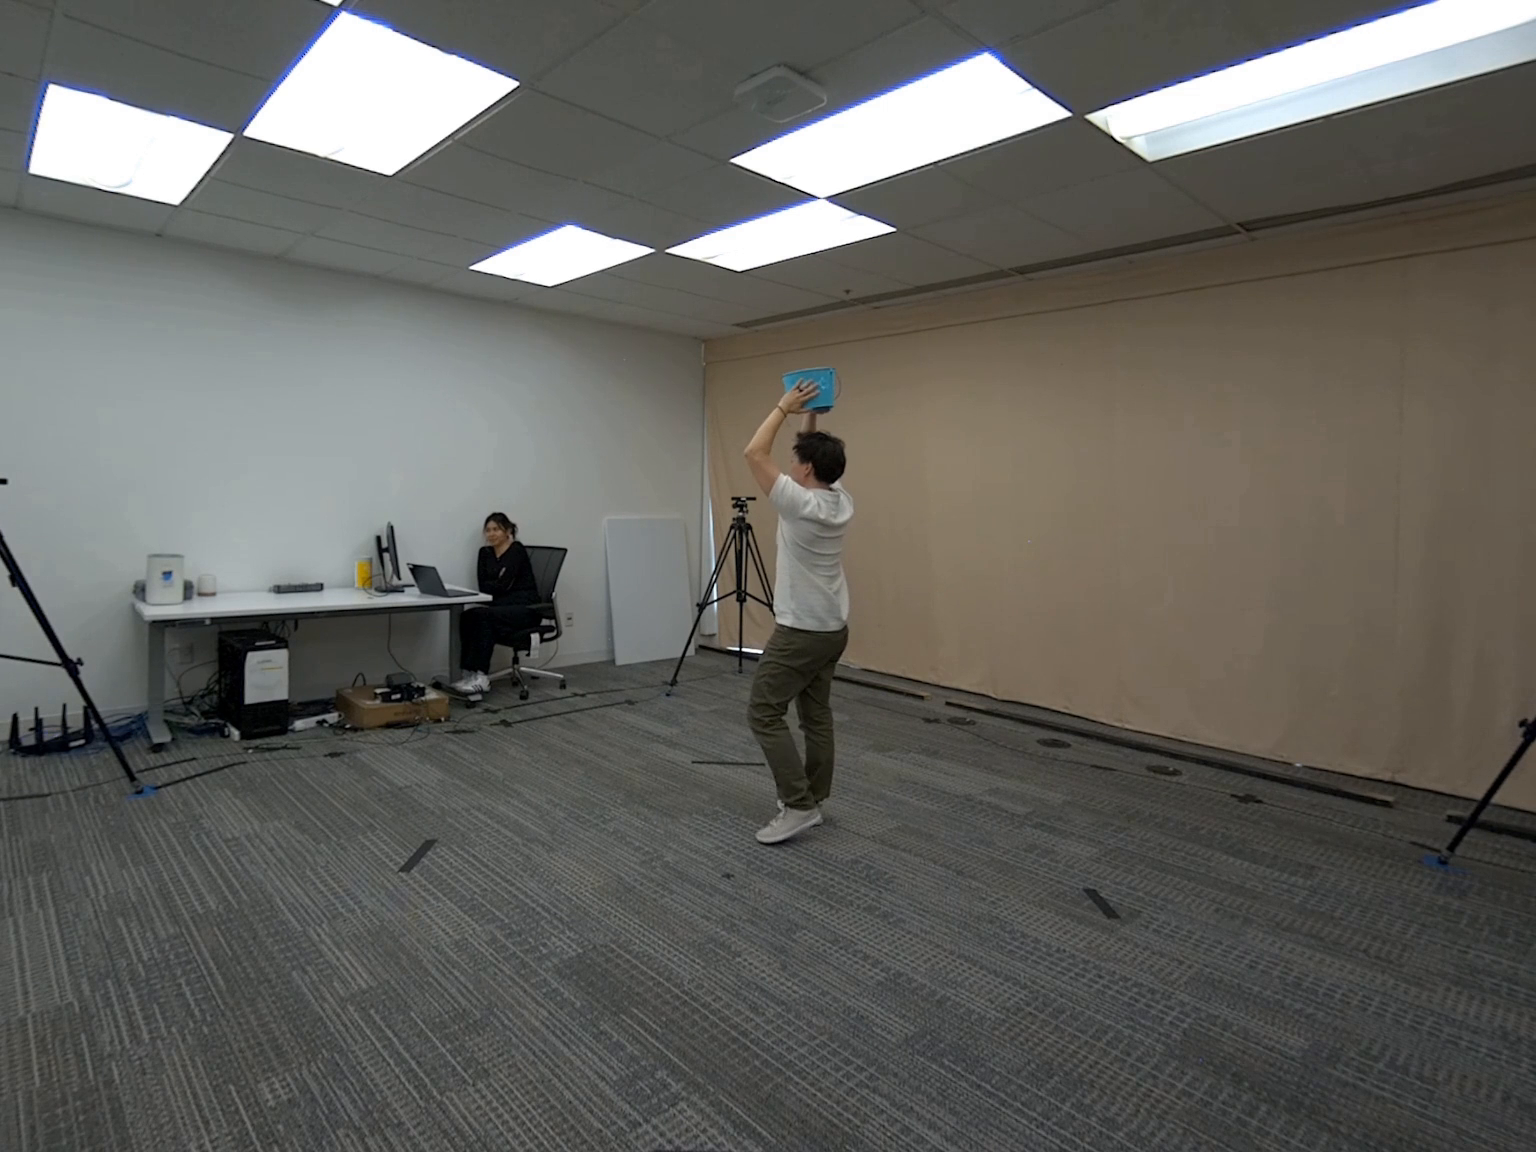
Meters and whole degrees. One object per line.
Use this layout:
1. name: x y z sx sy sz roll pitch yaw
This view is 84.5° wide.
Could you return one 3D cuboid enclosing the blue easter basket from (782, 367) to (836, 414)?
1. blue easter basket: 0.183 -0.765 3.514 0.243 0.155 0.244 -4 6 -1
